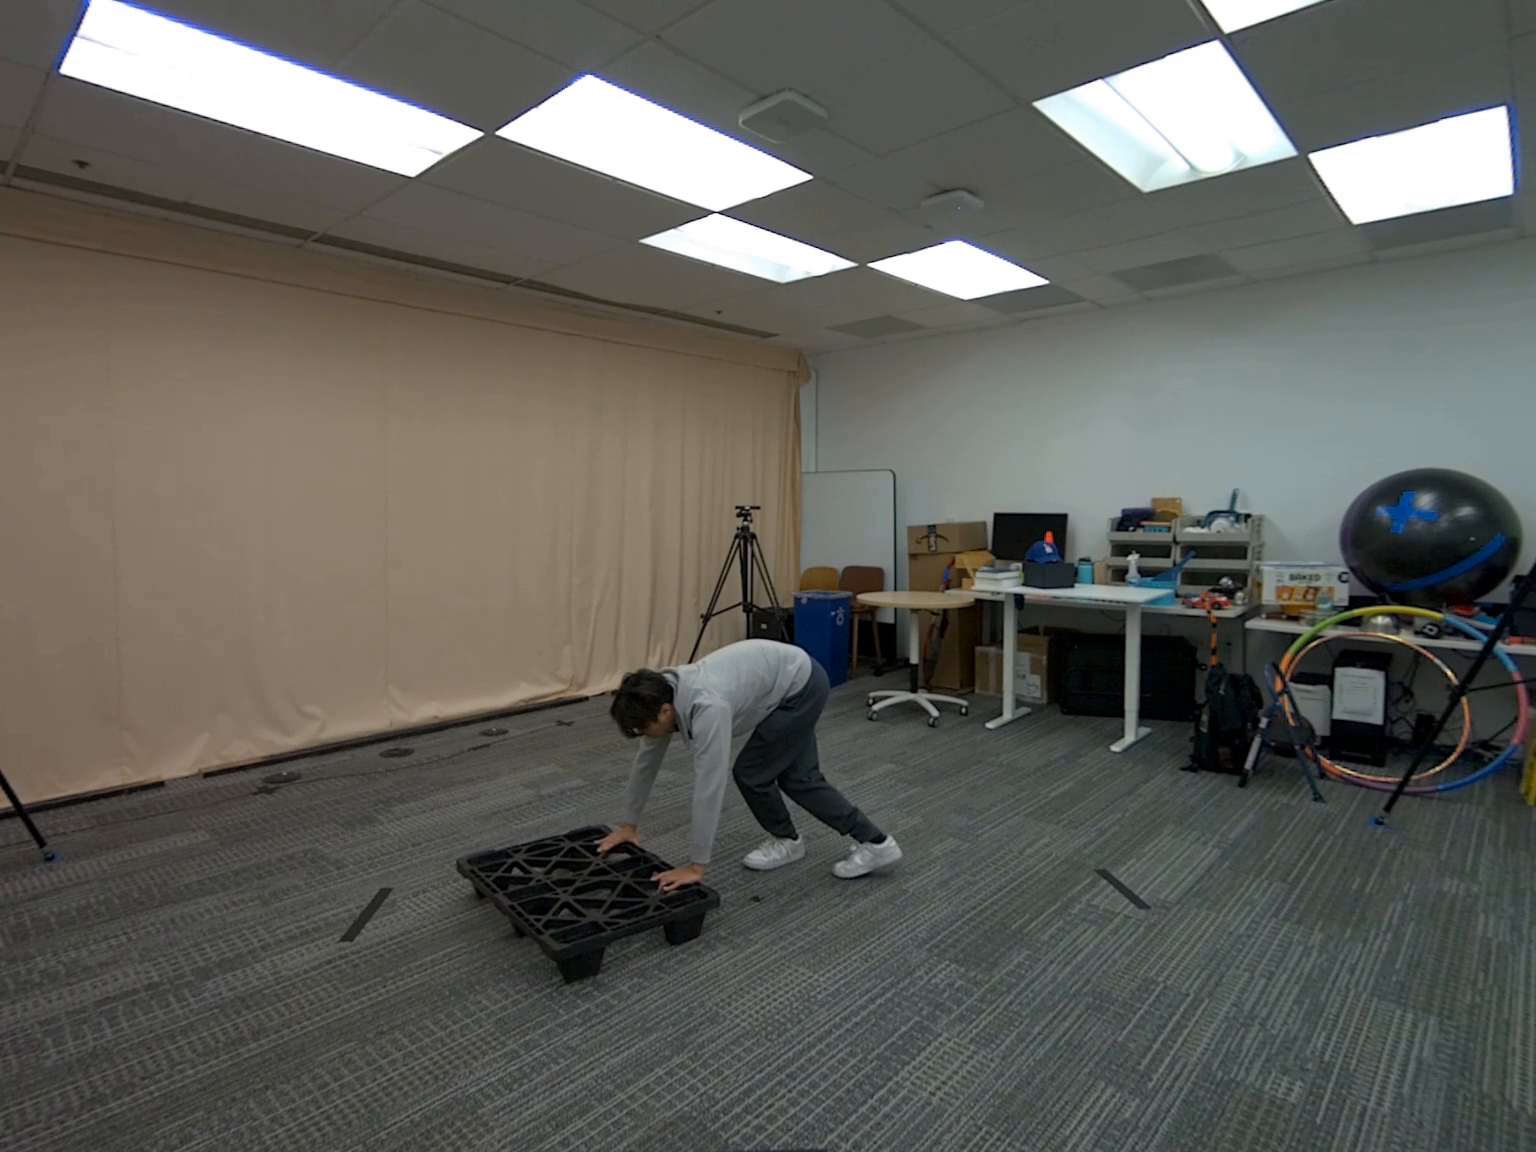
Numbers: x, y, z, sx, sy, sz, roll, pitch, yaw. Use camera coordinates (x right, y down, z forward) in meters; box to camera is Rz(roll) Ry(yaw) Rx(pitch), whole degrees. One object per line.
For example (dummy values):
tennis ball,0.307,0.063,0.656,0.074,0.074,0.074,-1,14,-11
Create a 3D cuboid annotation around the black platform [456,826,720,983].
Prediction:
black platform,-0.633,1.089,2.866,0.587,0.143,0.832,-4,5,-38
